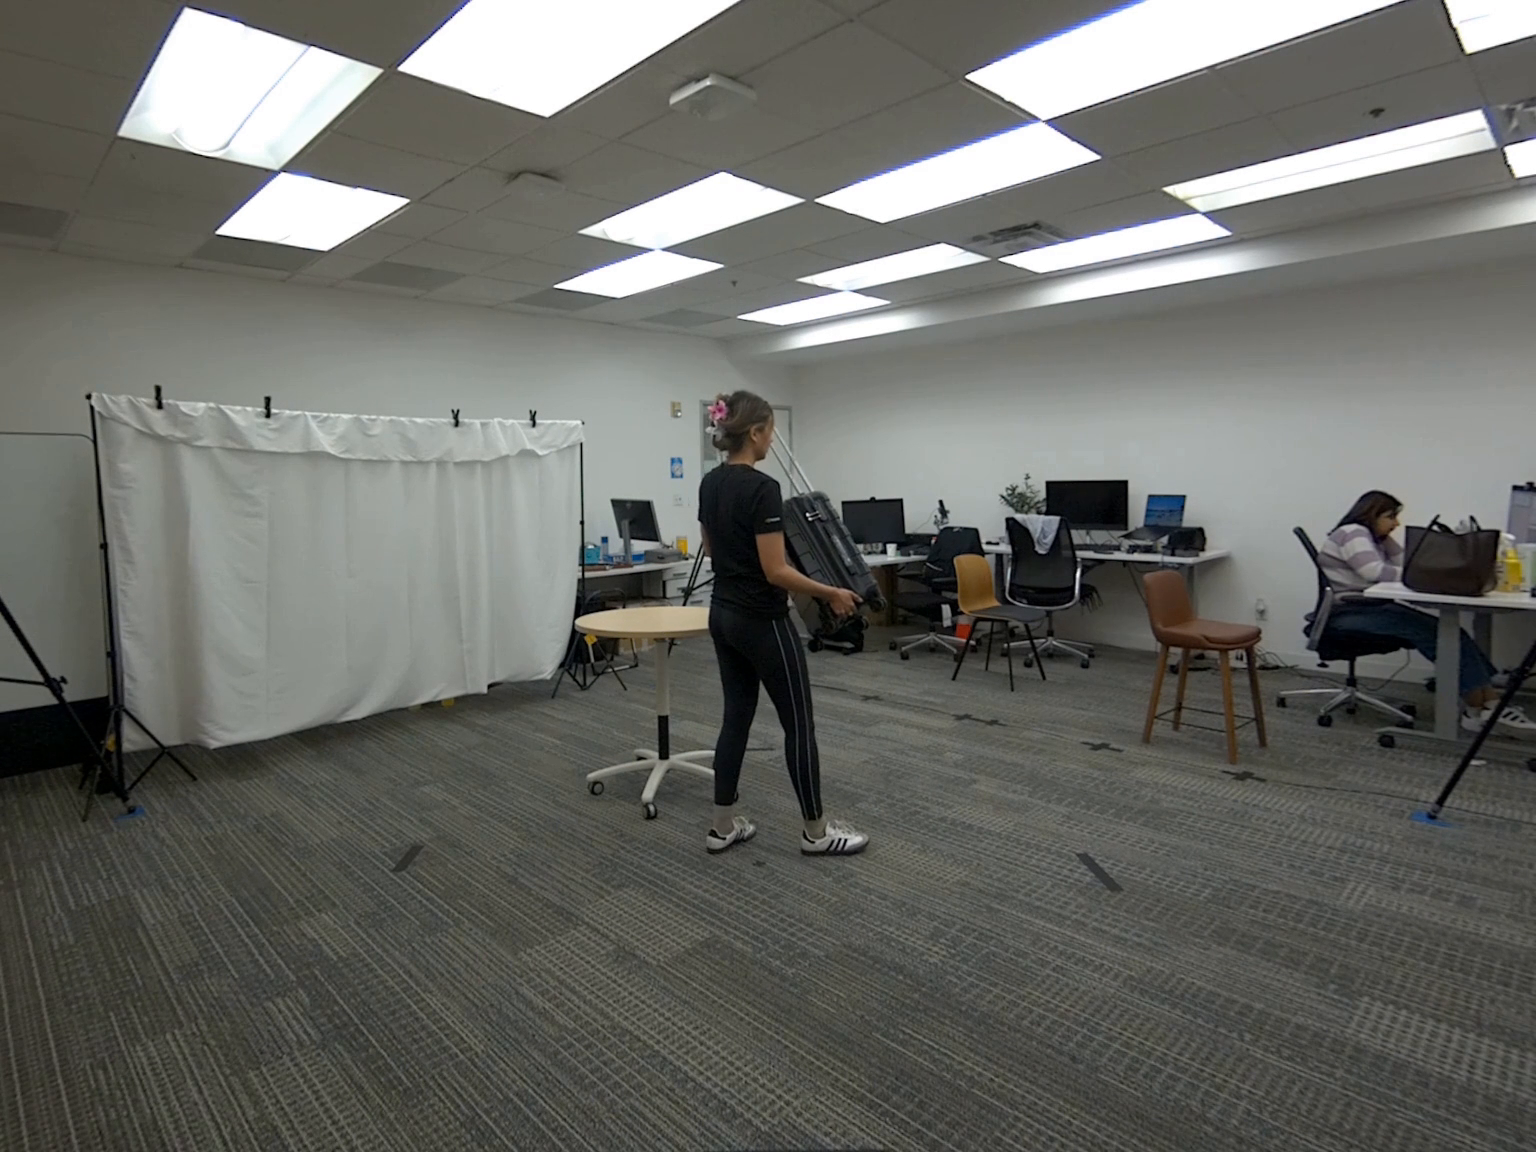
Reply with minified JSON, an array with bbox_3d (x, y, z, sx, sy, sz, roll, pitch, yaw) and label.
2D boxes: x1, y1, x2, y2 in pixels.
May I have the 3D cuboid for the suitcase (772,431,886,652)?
[{"bbox_3d":[0.106,-0.224,3.408,0.255,0.998,0.379,-24,-16,-13],"label":"suitcase"}]
